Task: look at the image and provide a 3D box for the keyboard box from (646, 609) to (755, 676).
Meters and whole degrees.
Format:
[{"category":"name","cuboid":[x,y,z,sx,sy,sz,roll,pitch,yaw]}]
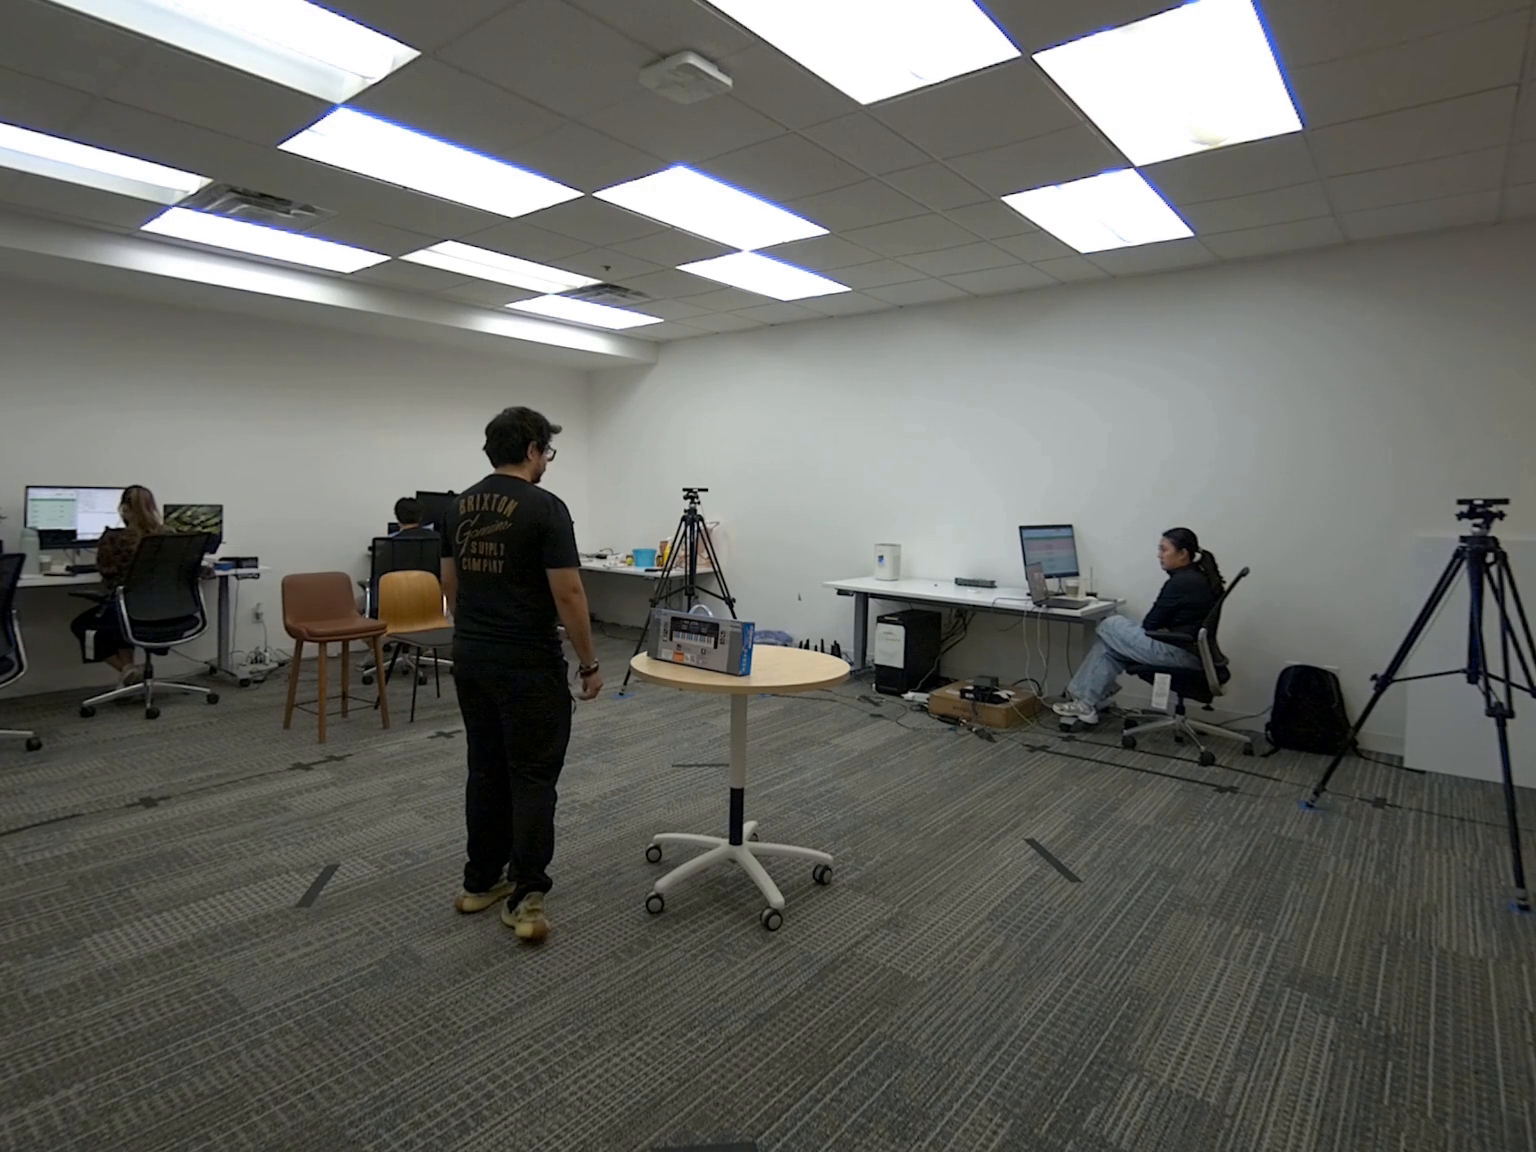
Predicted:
[{"category":"keyboard box","cuboid":[-0.245,0.222,2.890,0.451,0.176,0.057,5,-2,40]}]
